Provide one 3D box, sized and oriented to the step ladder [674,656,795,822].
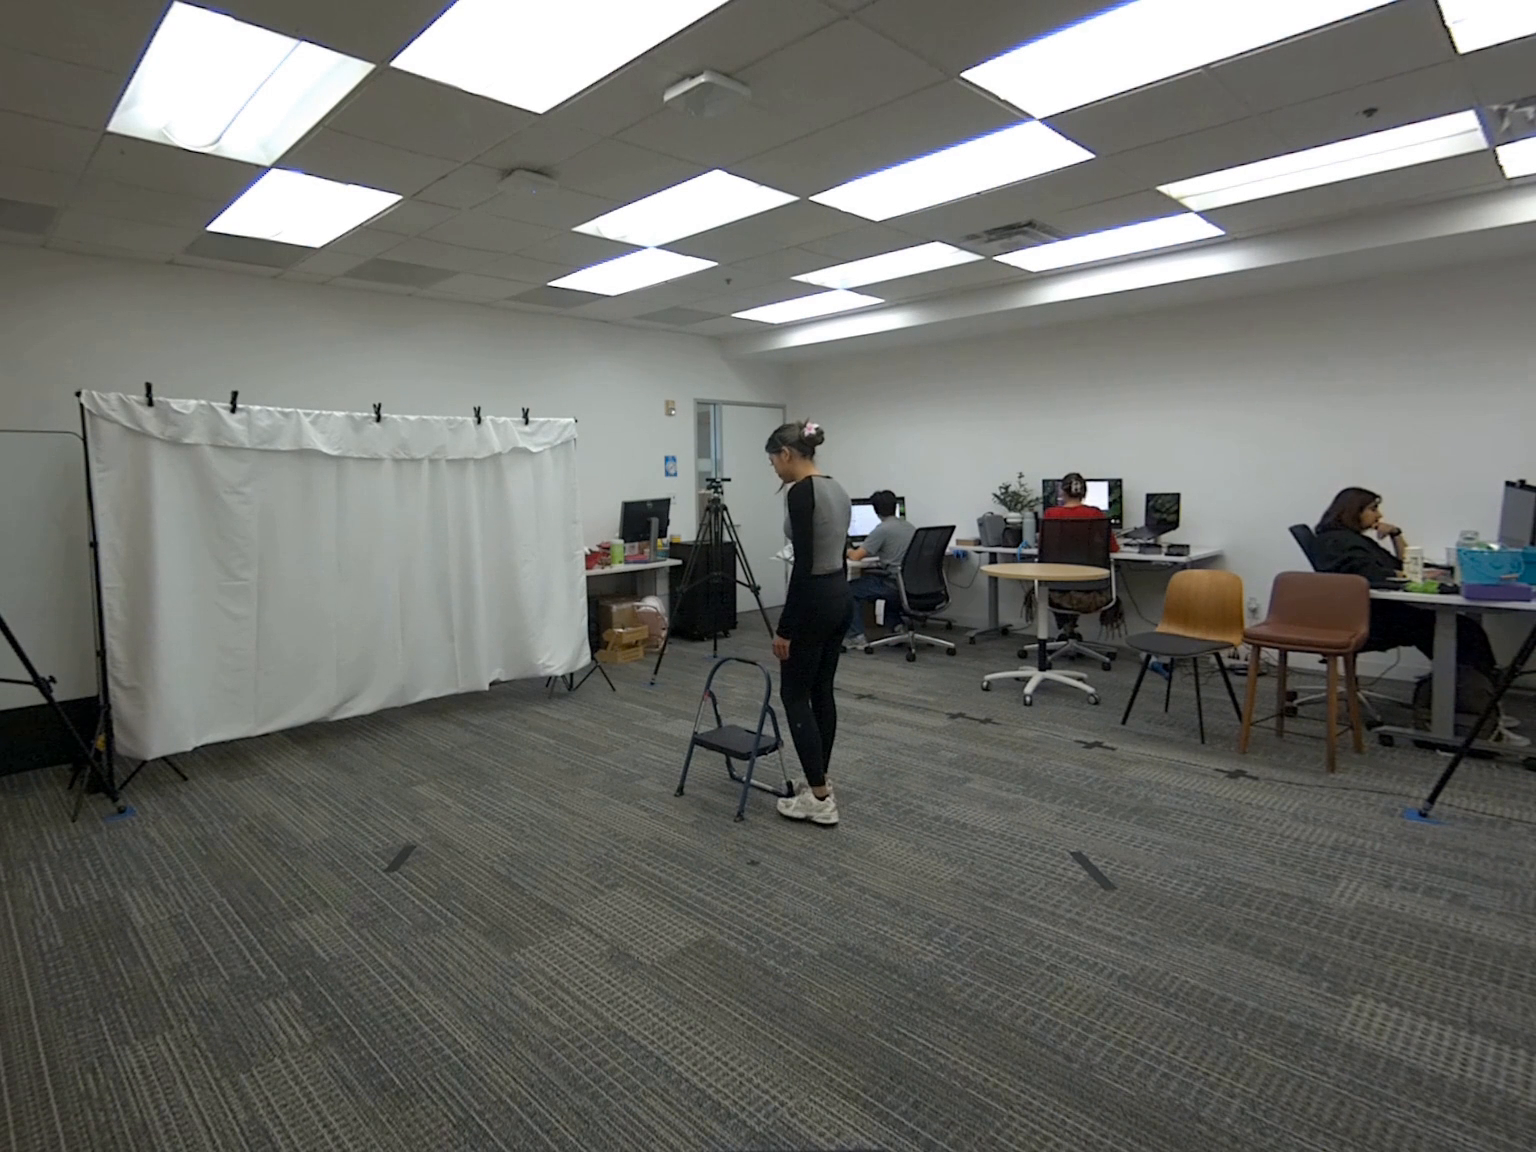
[{"bbox_3d":[-0.150,0.671,3.730,0.340,0.604,0.444,-5,6,-43],"label":"step ladder"}]
